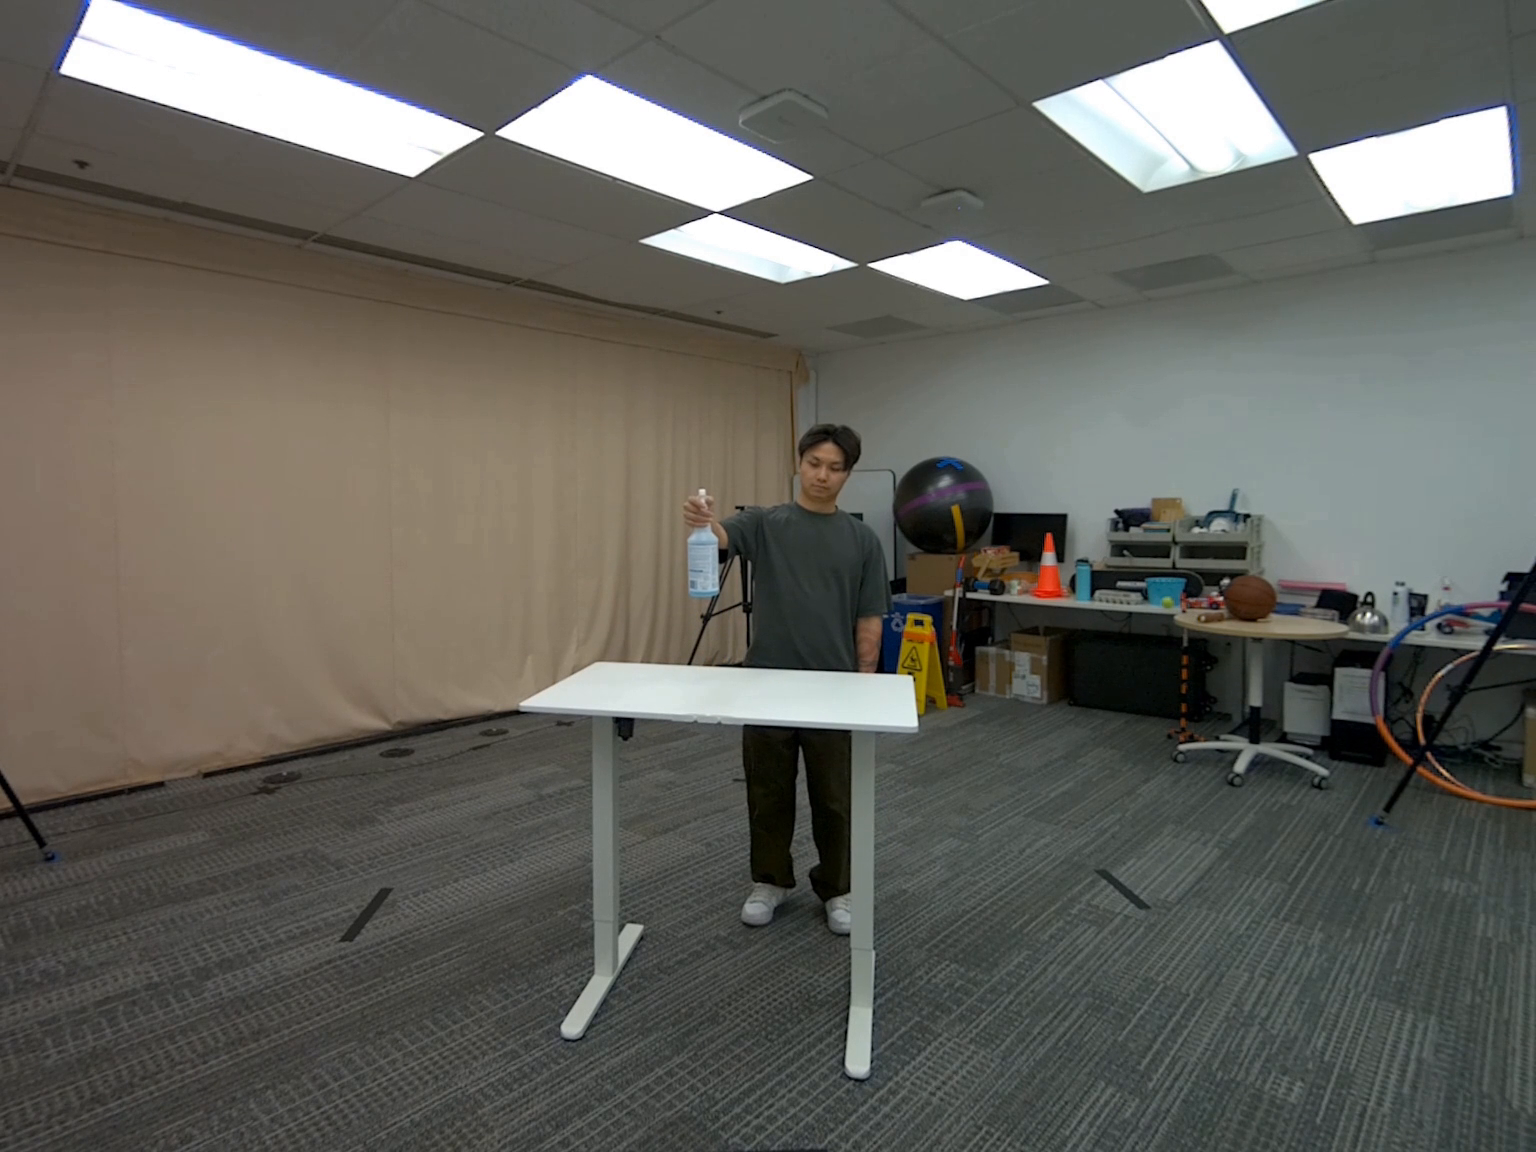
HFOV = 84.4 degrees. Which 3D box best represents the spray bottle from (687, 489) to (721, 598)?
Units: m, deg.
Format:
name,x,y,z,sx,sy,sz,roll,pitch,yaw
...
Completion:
name,x,y,z,sx,sy,sz,roll,pitch,yaw
spray bottle,-0.183,-0.091,2.342,0.089,0.296,0.088,3,5,21
